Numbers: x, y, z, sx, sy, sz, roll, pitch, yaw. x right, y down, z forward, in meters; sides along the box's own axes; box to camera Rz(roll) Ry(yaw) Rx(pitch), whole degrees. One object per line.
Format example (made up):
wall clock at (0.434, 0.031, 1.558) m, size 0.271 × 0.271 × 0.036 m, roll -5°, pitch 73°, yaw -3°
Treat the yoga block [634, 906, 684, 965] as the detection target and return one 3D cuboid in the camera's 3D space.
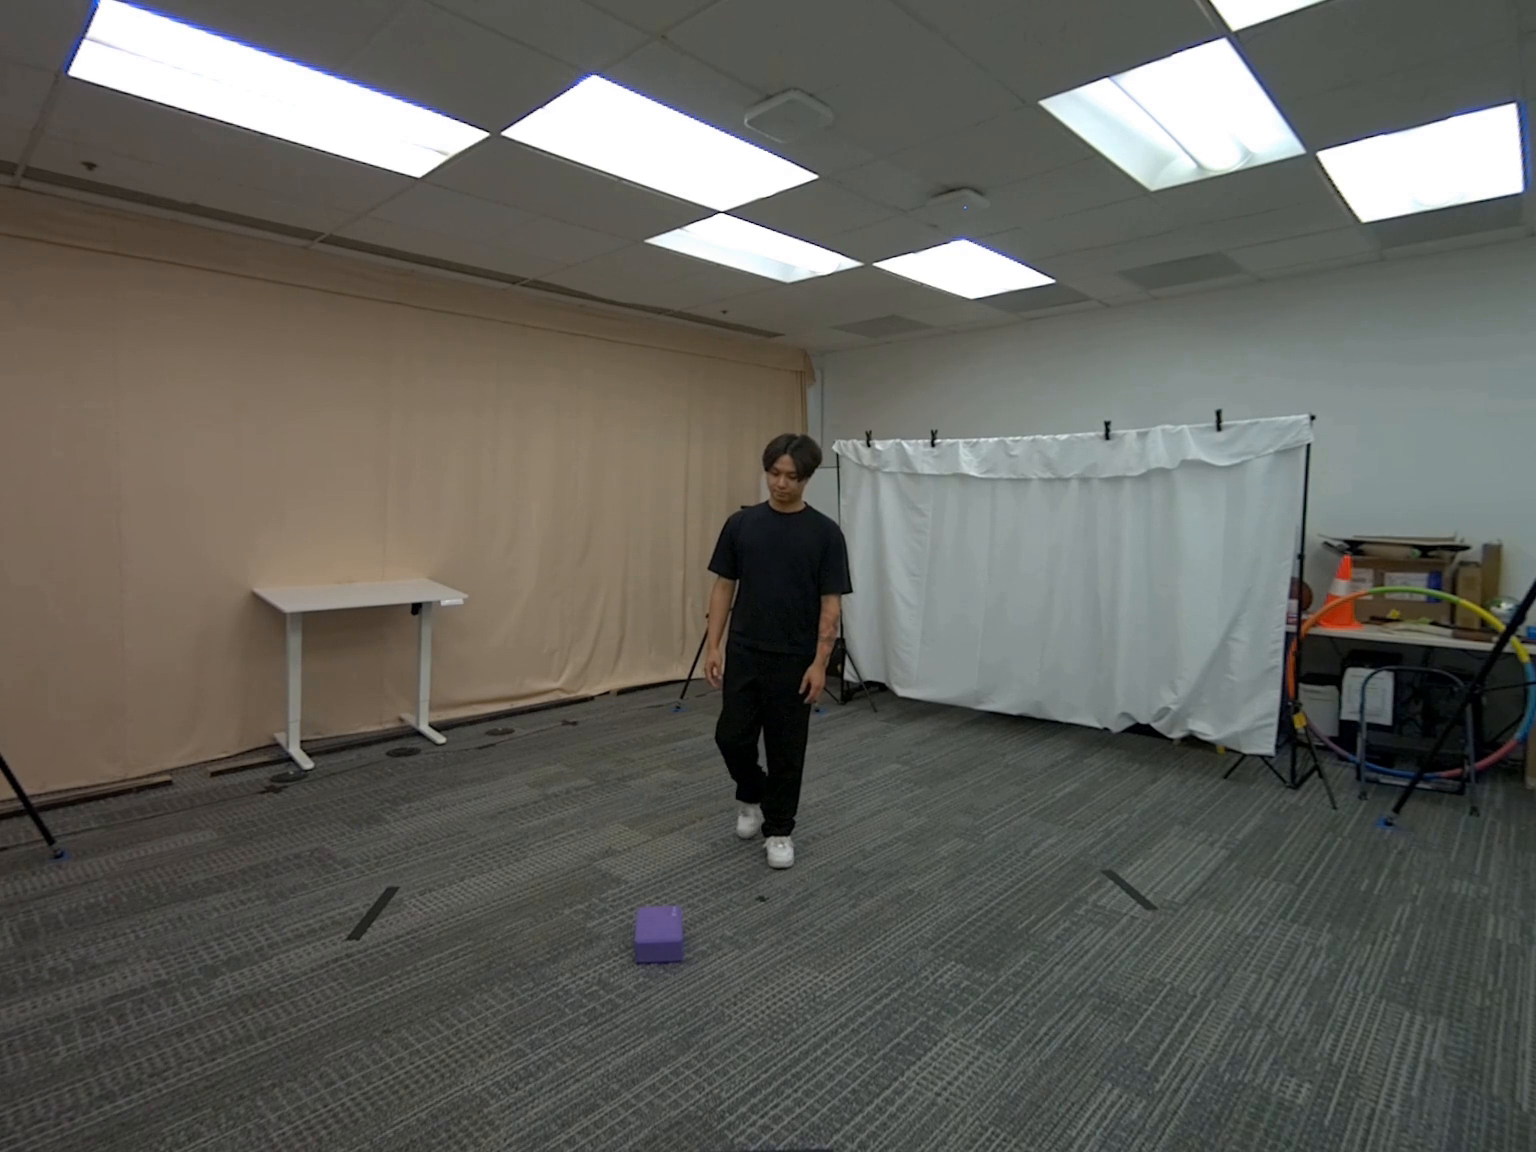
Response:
yoga block at (-0.346, 1.133, 2.663) m, size 0.148 × 0.076 × 0.231 m, roll 0°, pitch 5°, yaw -6°
